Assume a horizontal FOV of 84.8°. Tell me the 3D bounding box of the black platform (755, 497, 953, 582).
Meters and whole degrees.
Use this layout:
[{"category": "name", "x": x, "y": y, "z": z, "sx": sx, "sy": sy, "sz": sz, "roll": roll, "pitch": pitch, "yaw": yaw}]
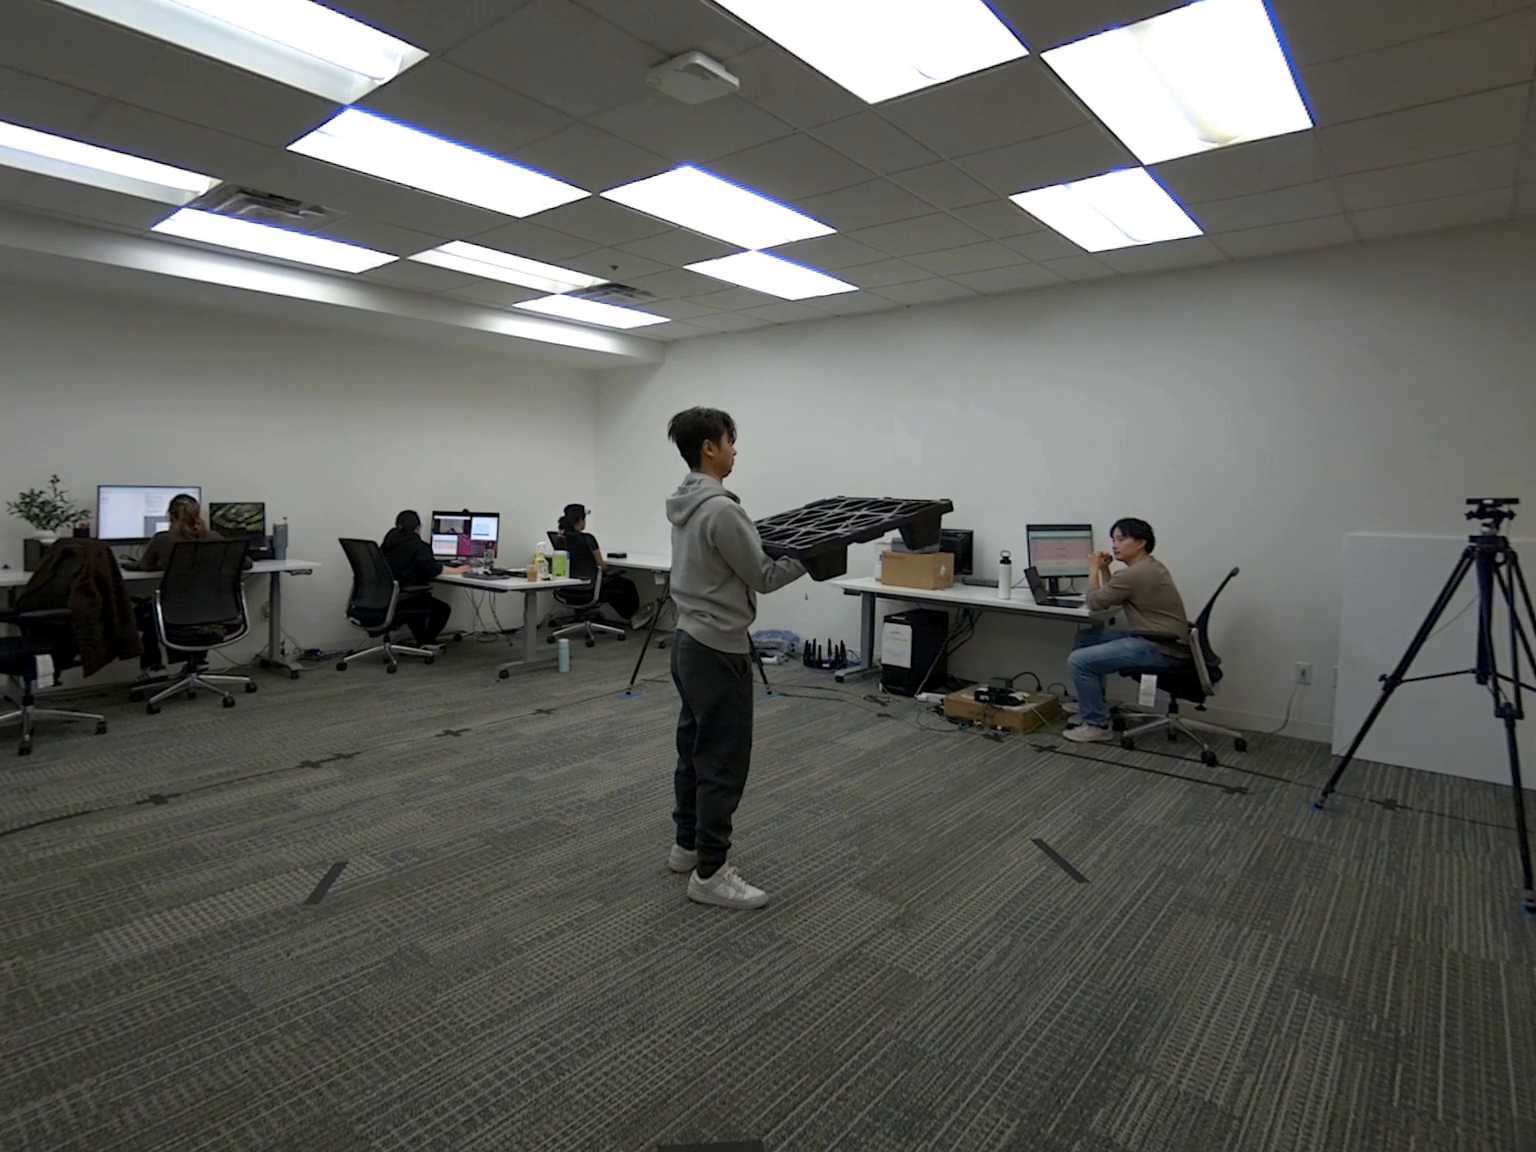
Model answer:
[{"category": "black platform", "x": 0.200, "y": -0.154, "z": 3.116, "sx": 0.596, "sy": 0.141, "sz": 0.828, "roll": -18, "pitch": 13, "yaw": -21}]
